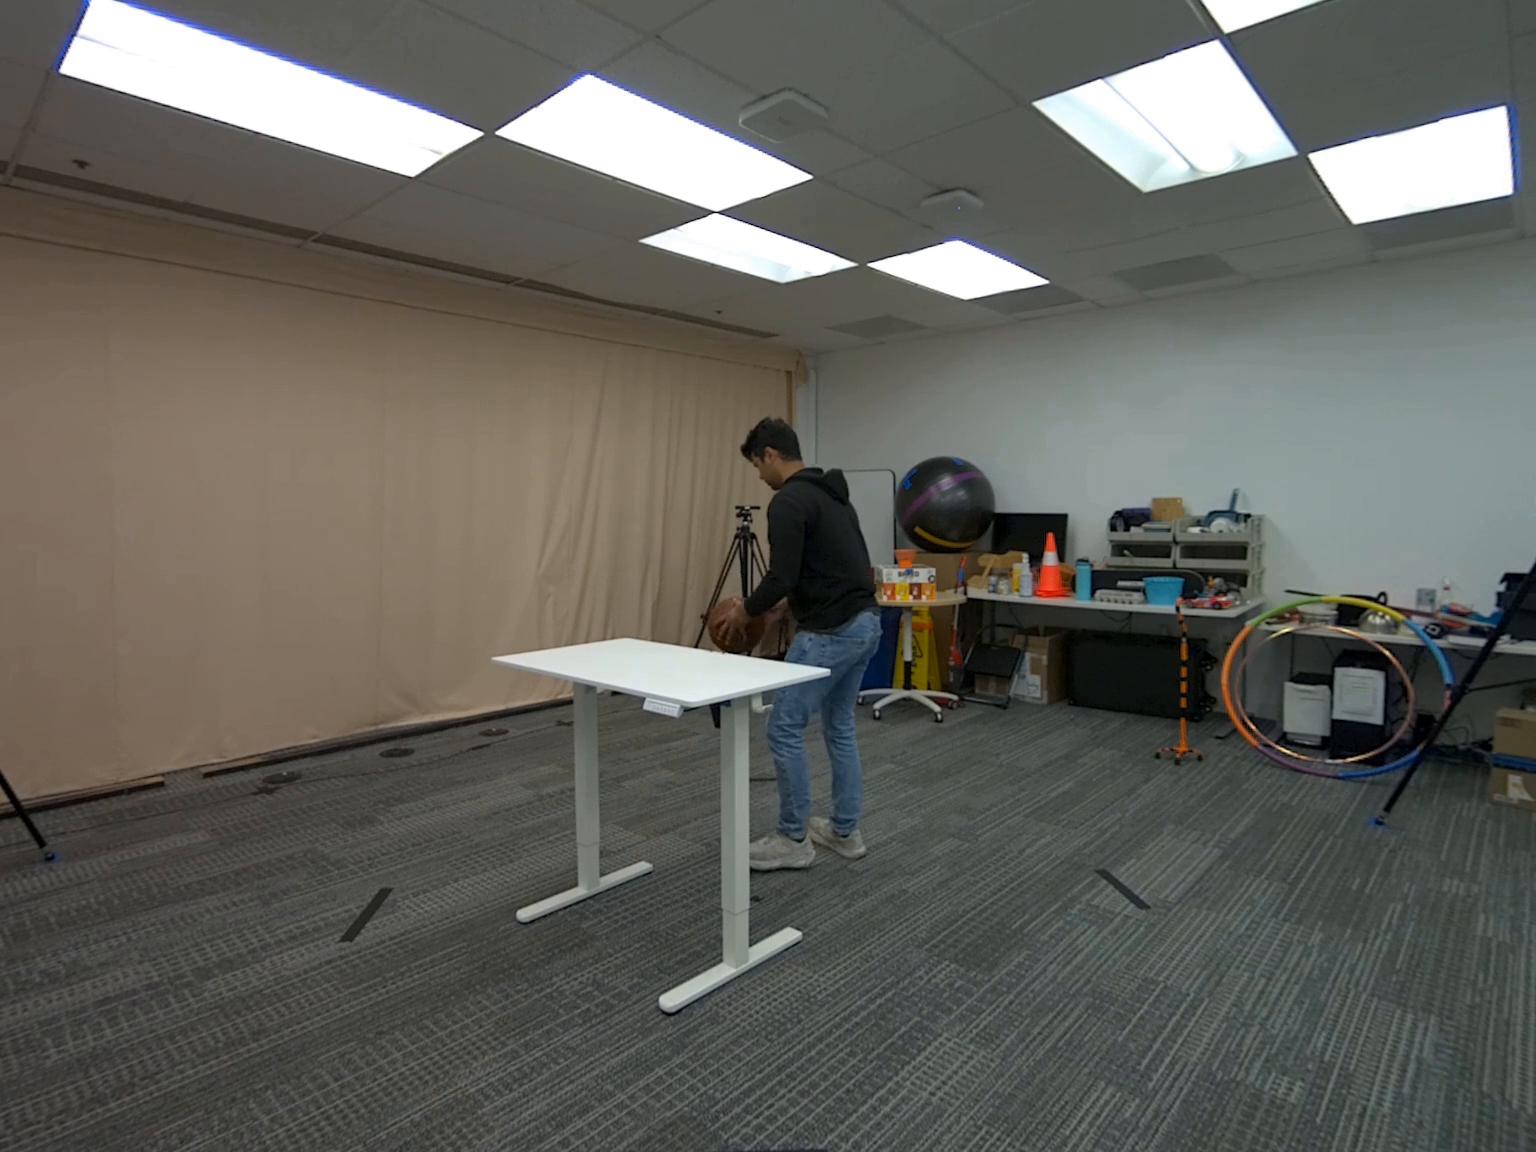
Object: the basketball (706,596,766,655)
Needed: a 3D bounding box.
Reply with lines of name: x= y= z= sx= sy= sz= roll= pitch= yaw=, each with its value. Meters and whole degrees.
basketball: x=-0.135 y=0.214 z=3.506 sx=0.236 sy=0.235 sz=0.237 roll=0 pitch=4 yaw=-2
